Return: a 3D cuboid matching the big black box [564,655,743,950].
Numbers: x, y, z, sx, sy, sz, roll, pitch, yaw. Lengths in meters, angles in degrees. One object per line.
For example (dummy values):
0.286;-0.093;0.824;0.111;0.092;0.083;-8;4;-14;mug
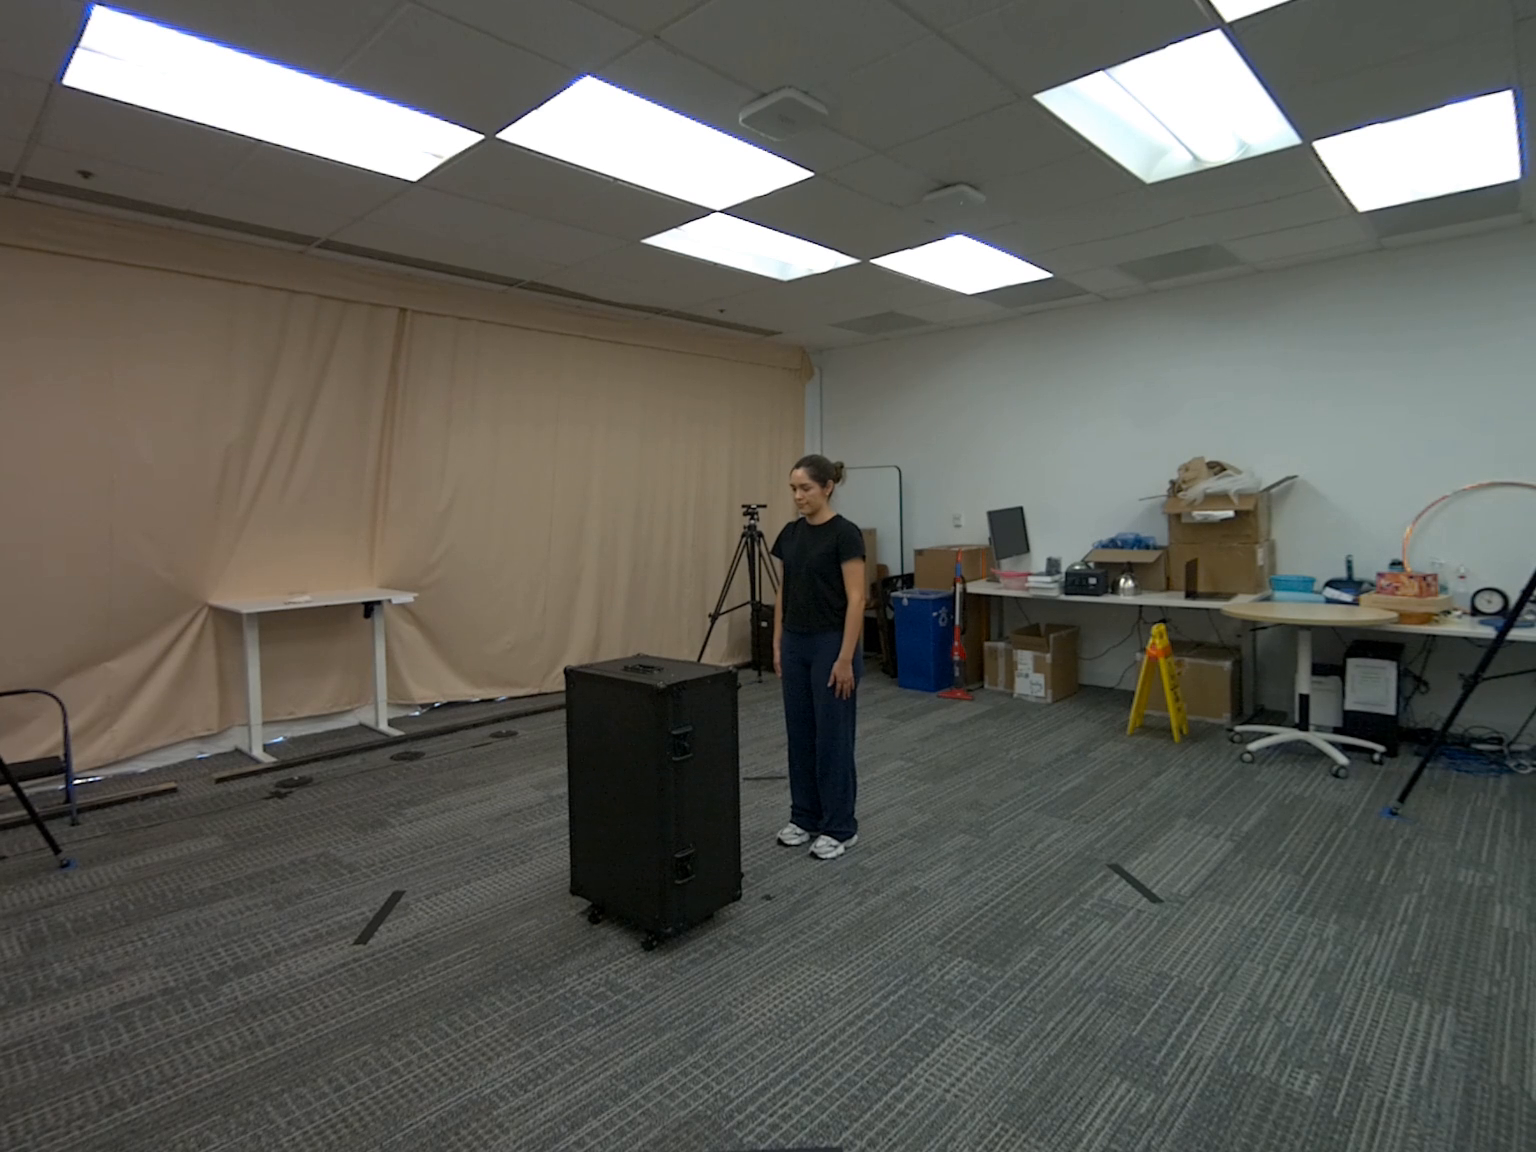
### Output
-0.375;0.734;2.856;0.538;0.860;0.384;2;3;41;big black box
